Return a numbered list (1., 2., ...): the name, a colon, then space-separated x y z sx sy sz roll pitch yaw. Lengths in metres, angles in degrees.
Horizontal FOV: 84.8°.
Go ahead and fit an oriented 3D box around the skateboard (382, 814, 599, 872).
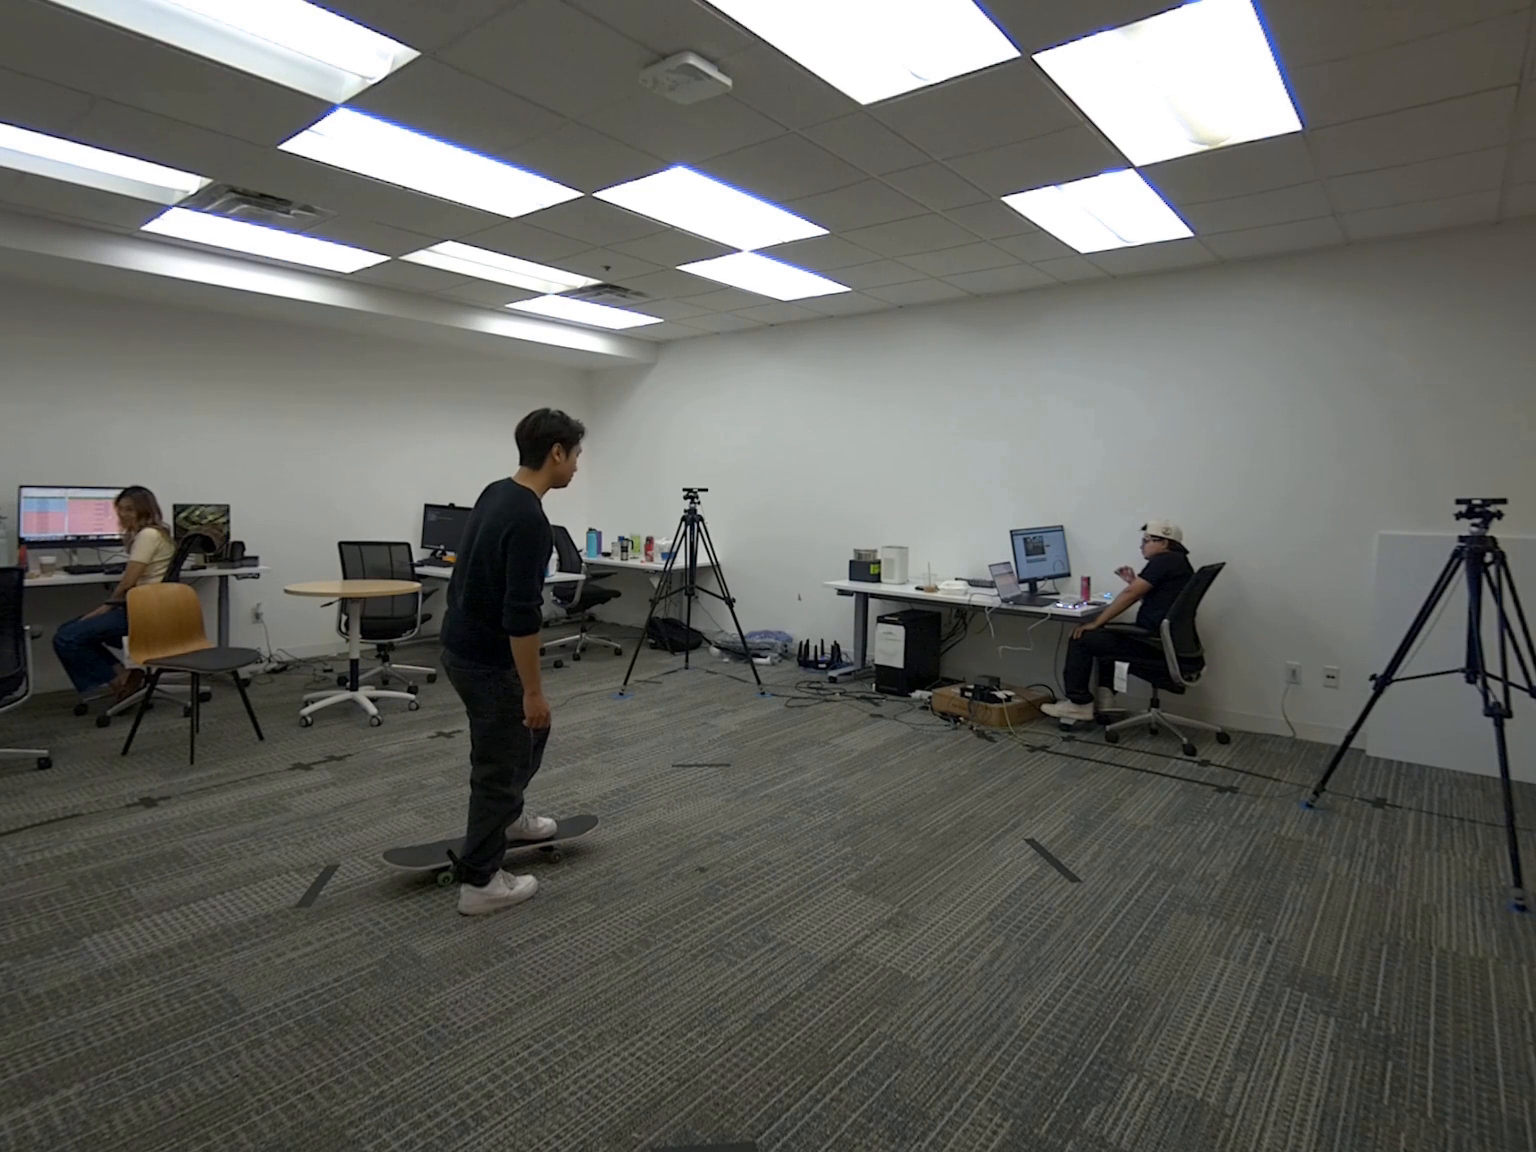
1. skateboard: -0.999 0.999 3.111 0.765 0.110 0.199 -3 6 -30
